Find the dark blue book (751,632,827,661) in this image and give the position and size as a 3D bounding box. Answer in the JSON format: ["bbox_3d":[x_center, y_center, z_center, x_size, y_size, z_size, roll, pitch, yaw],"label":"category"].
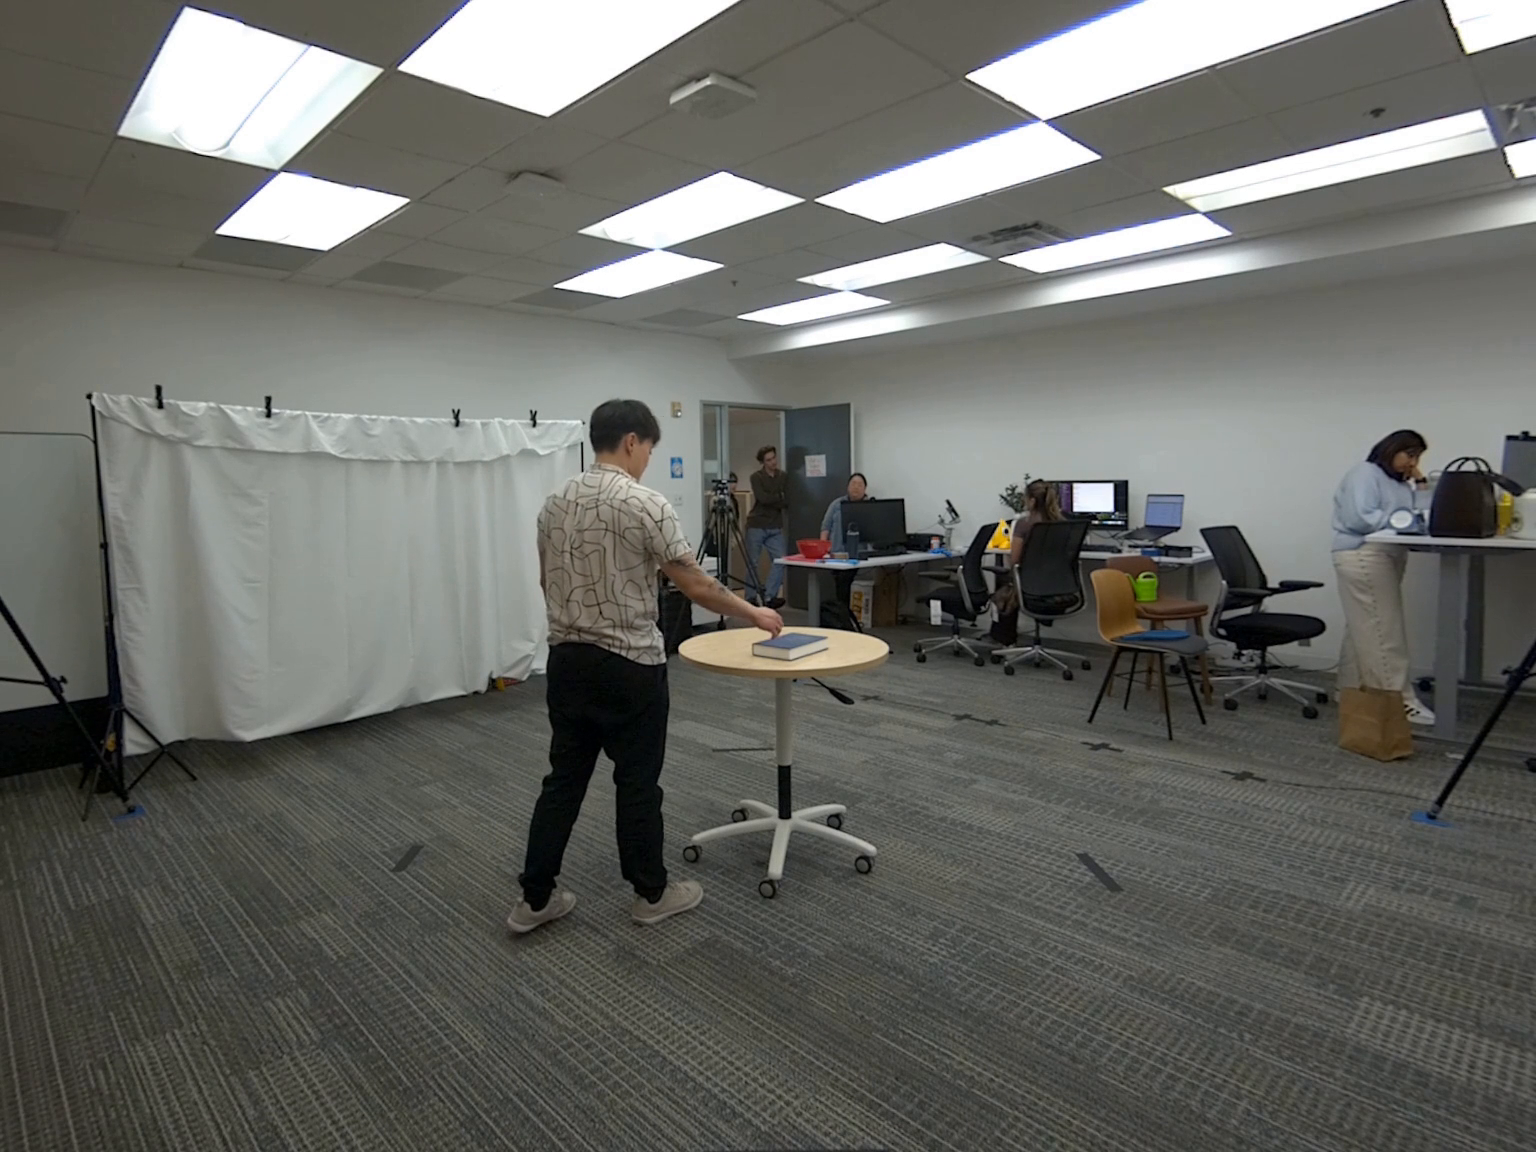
[{"bbox_3d":[0.093,0.248,3.014,0.168,0.045,0.239,4,8,36],"label":"dark blue book"}]
